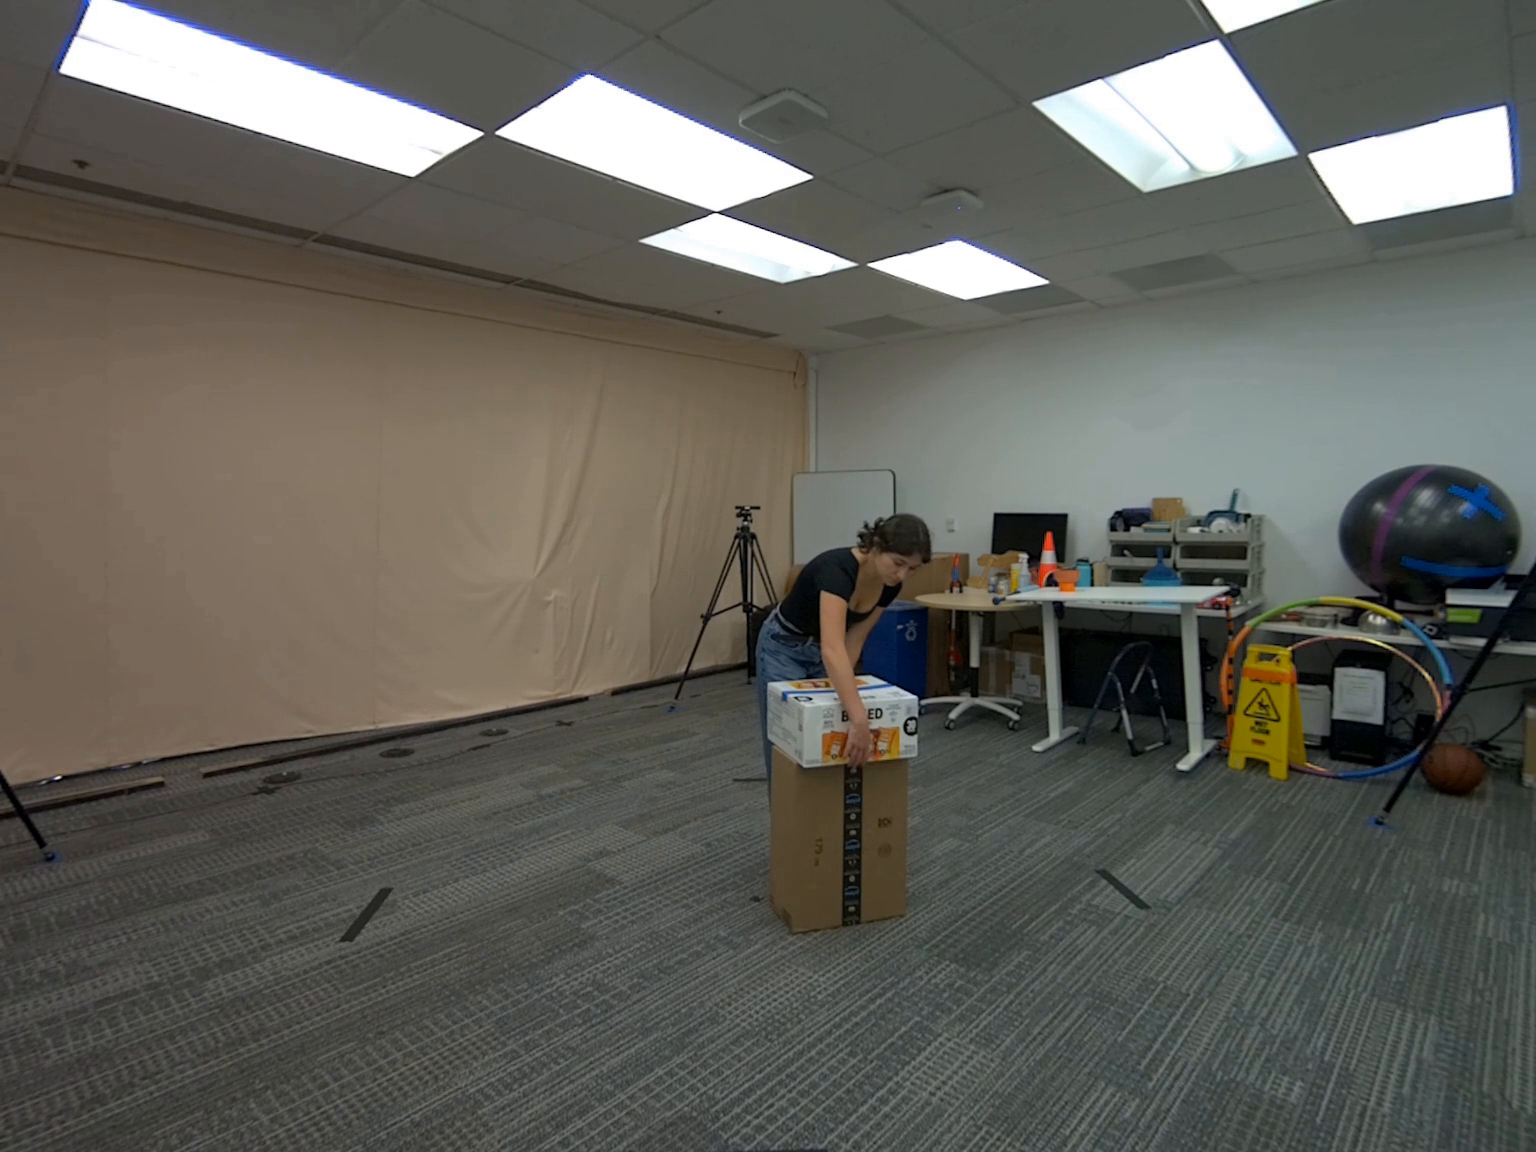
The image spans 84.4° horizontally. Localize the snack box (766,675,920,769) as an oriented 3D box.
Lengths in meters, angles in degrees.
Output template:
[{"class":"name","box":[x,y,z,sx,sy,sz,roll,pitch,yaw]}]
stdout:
[{"class":"snack box","box":[0.247,0.484,2.863,0.398,0.205,0.347,-2,5,-18]}]
